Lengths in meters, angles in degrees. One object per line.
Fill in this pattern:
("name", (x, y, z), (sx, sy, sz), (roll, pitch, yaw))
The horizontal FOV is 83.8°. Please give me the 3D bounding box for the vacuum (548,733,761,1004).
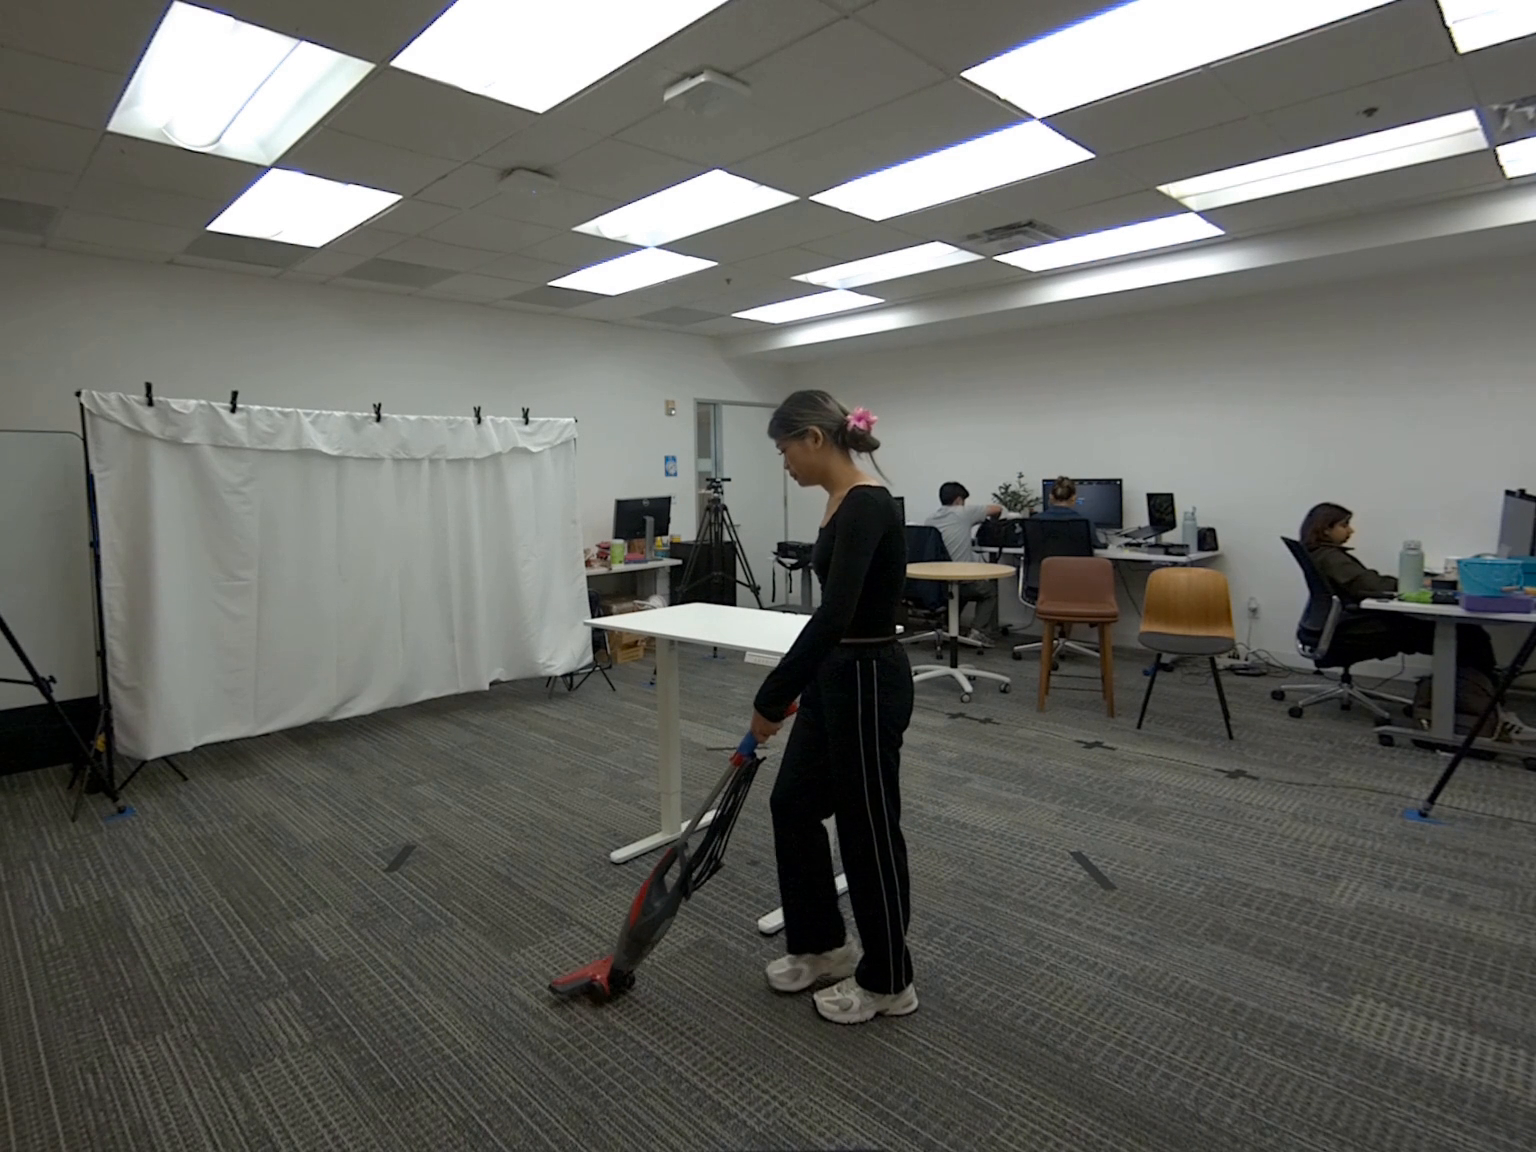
("vacuum", (-0.201, 0.731, 2.155), (0.148, 1.044, 0.246), (45, 26, 24))
